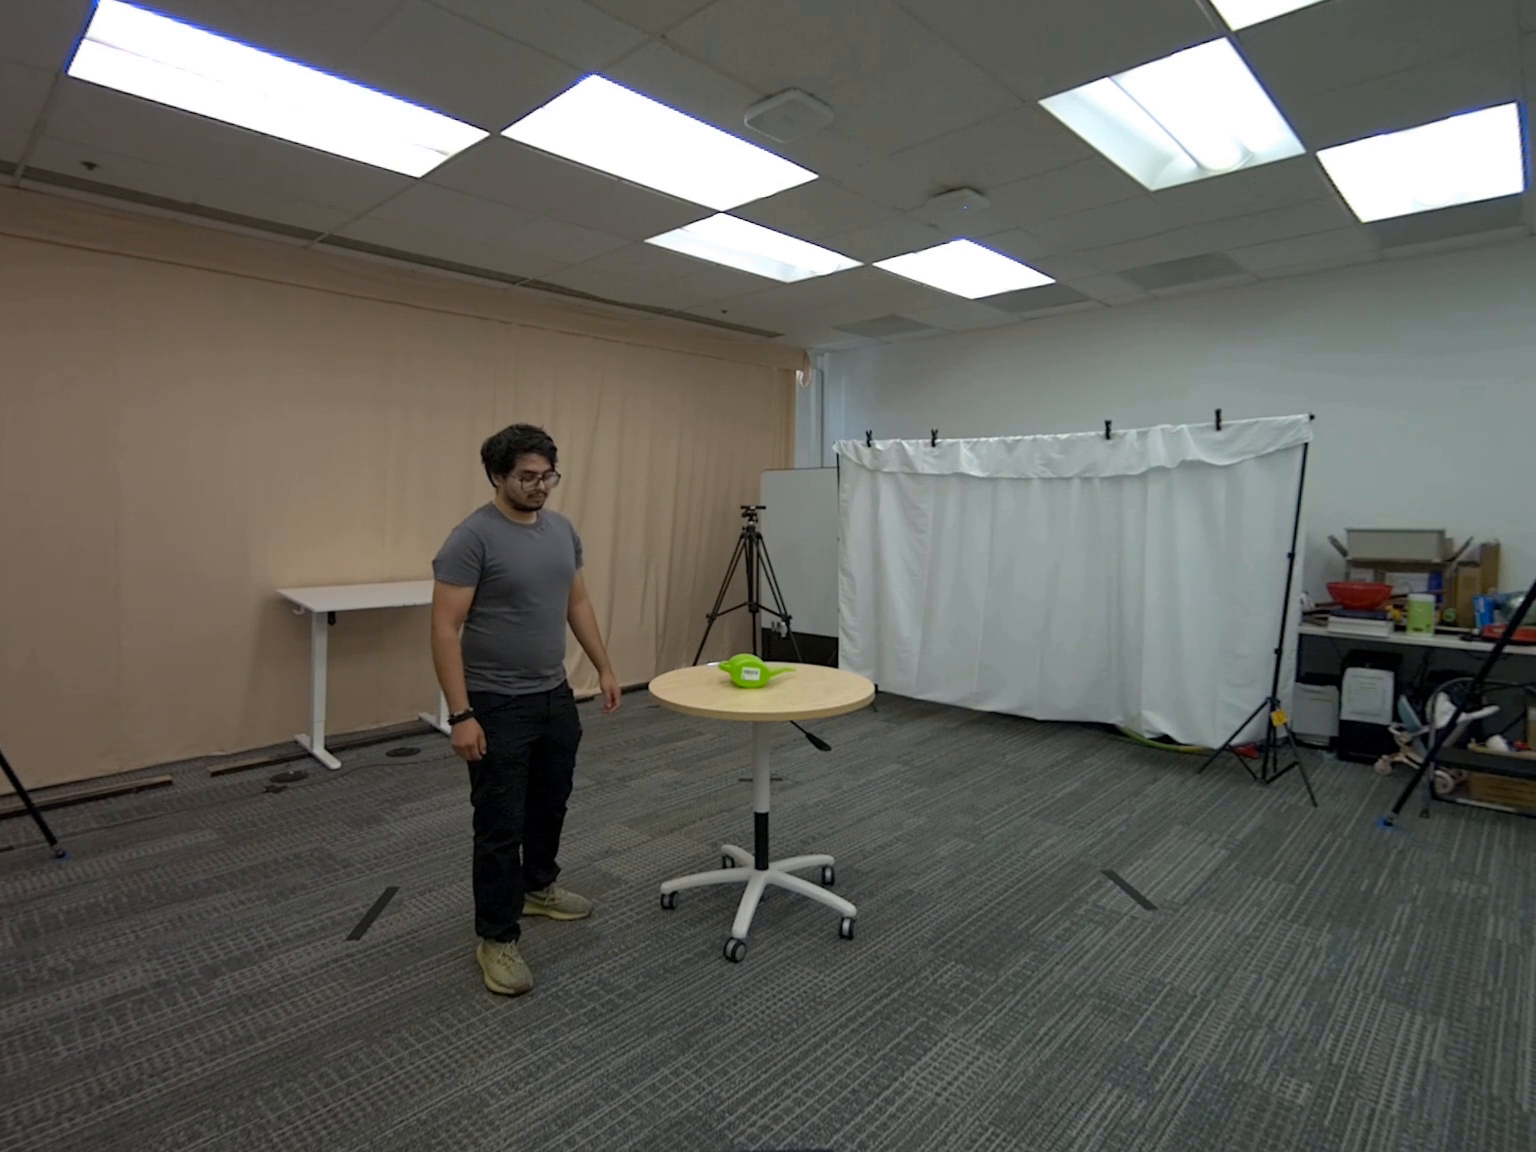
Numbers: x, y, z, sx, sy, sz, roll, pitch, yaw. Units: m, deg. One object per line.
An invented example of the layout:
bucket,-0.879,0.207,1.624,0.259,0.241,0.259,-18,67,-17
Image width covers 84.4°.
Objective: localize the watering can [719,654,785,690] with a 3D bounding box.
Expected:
watering can,-0.026,0.317,2.887,0.276,0.097,0.179,-7,6,-7
